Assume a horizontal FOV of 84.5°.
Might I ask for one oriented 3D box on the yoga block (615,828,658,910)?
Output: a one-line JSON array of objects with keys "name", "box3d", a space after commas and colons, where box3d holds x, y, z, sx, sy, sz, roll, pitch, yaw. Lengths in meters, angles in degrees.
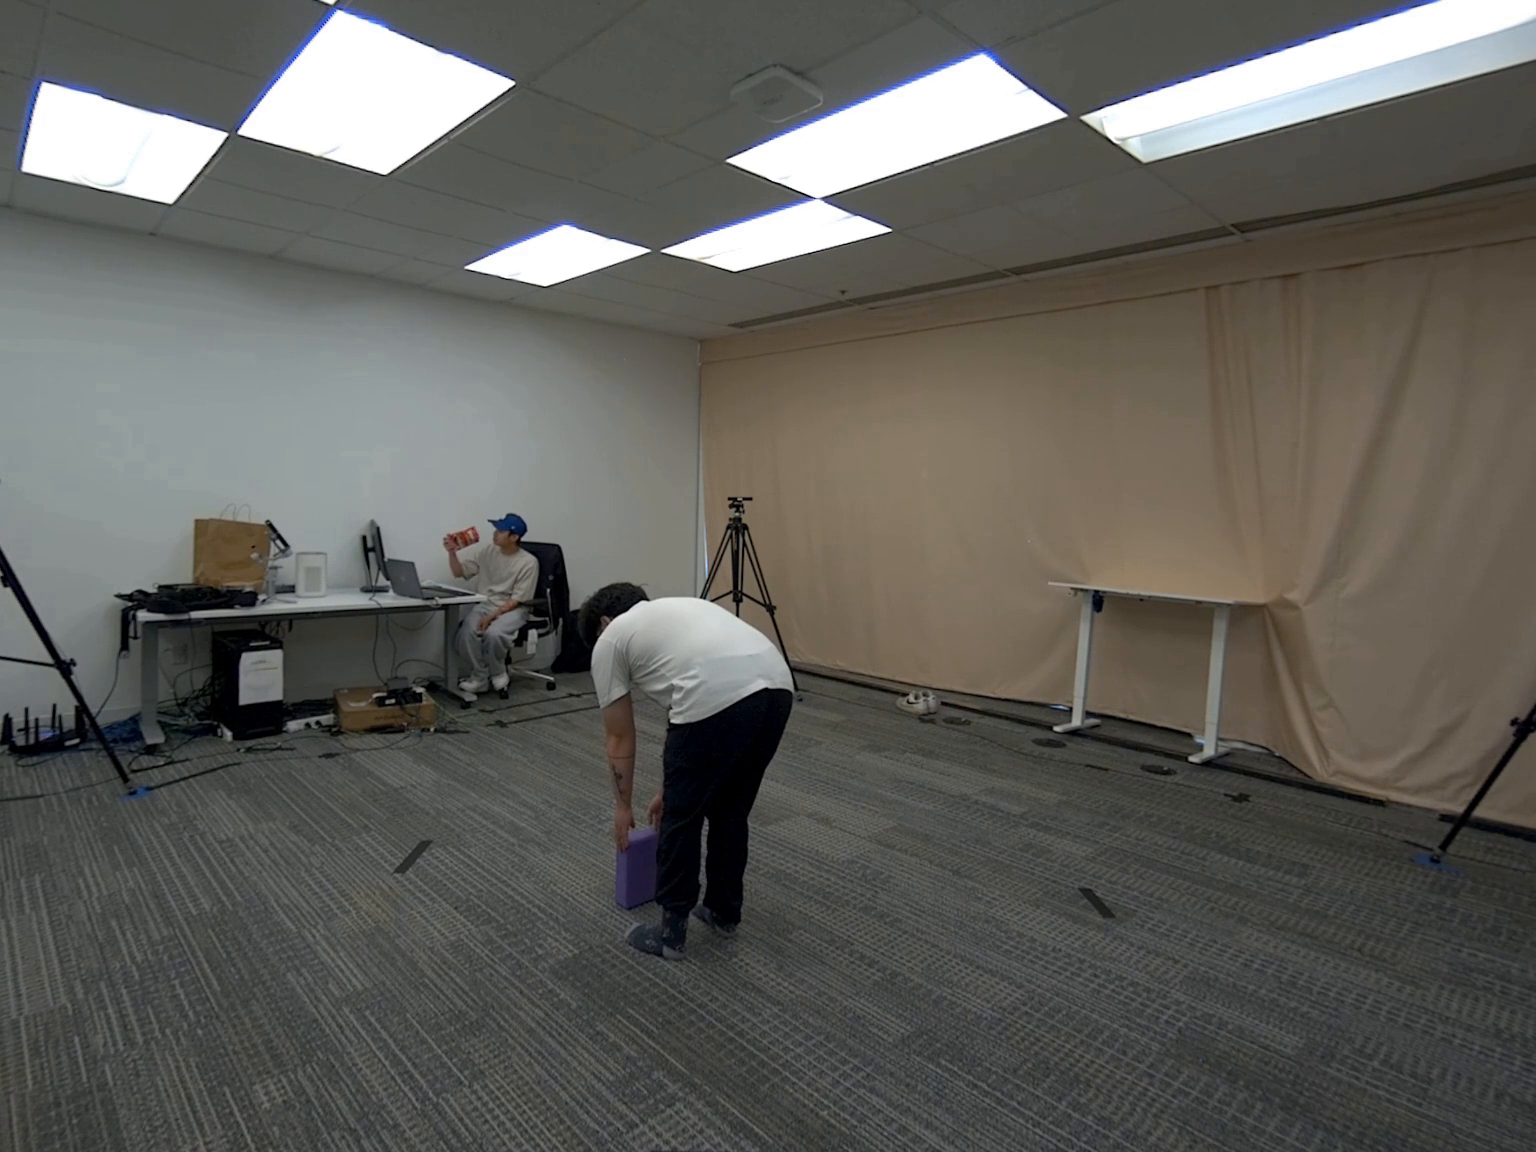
[{"name": "yoga block", "box3d": [-0.452, 1.010, 2.889, 0.146, 0.228, 0.078, -4, 8, -44]}]
